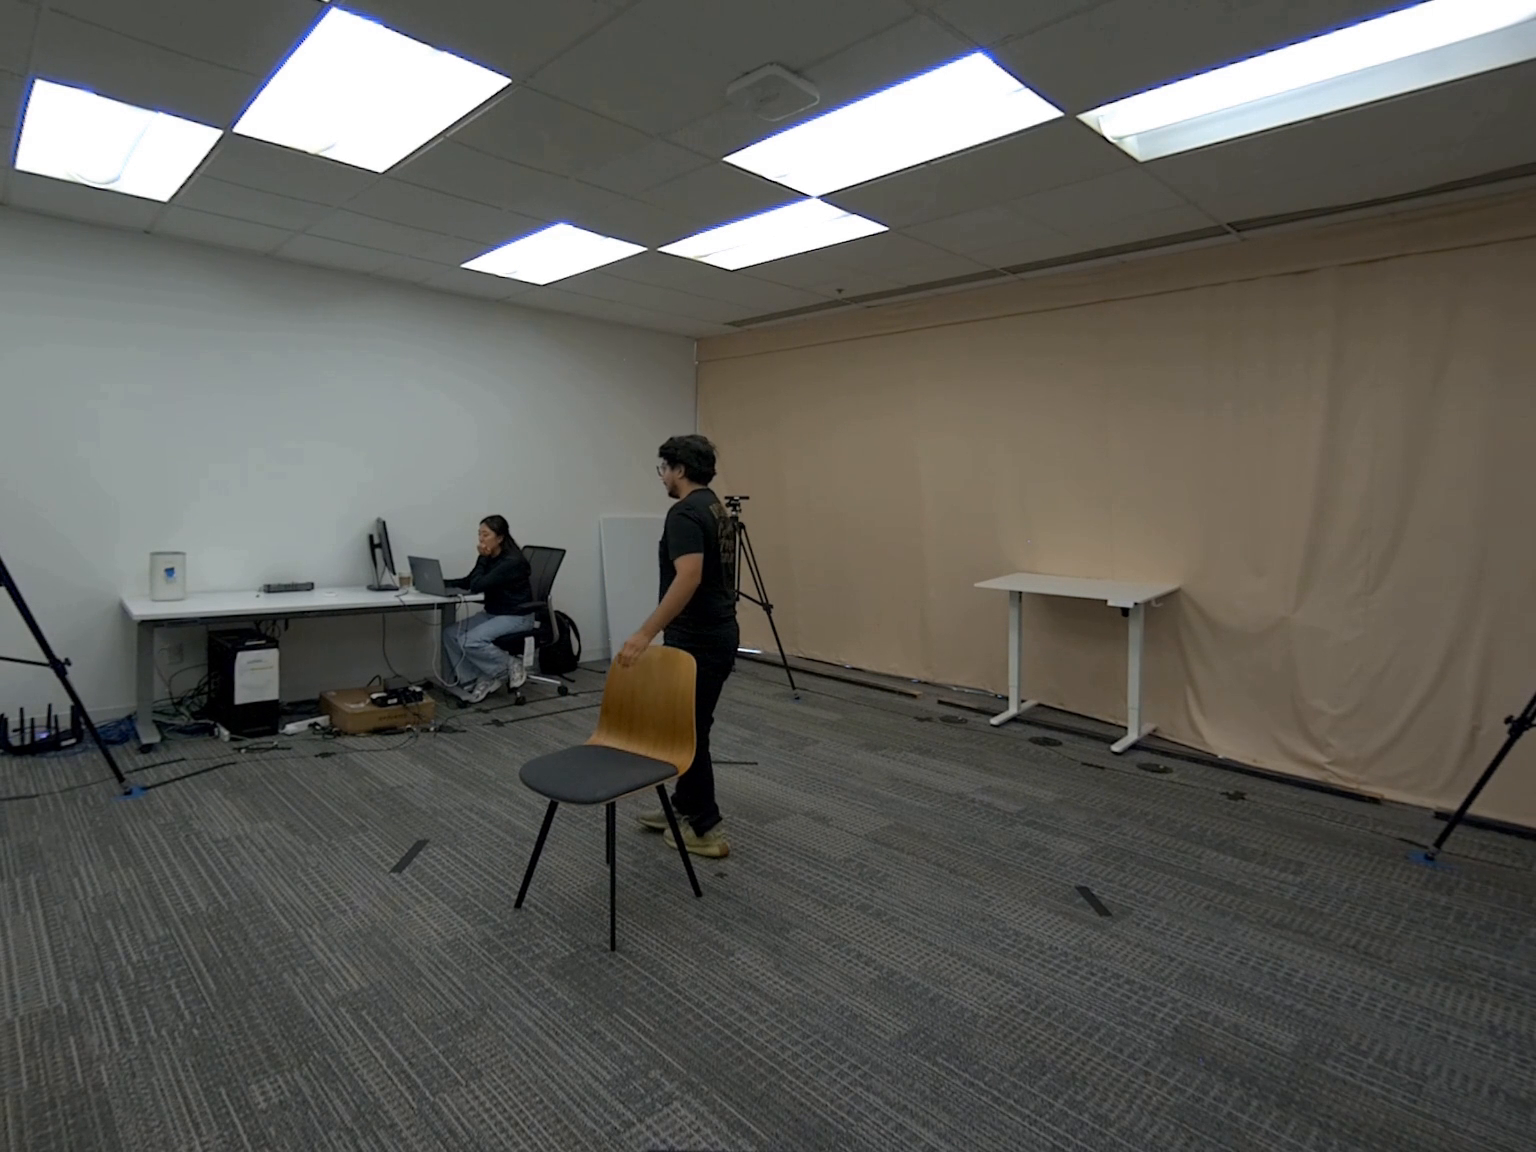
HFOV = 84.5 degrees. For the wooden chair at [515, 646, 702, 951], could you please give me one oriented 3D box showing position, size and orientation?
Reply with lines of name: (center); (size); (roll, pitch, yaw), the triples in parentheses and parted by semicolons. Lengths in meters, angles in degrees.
wooden chair: (-0.536, 0.693, 2.835); (0.489, 0.877, 0.511); (4, 0, 34)
